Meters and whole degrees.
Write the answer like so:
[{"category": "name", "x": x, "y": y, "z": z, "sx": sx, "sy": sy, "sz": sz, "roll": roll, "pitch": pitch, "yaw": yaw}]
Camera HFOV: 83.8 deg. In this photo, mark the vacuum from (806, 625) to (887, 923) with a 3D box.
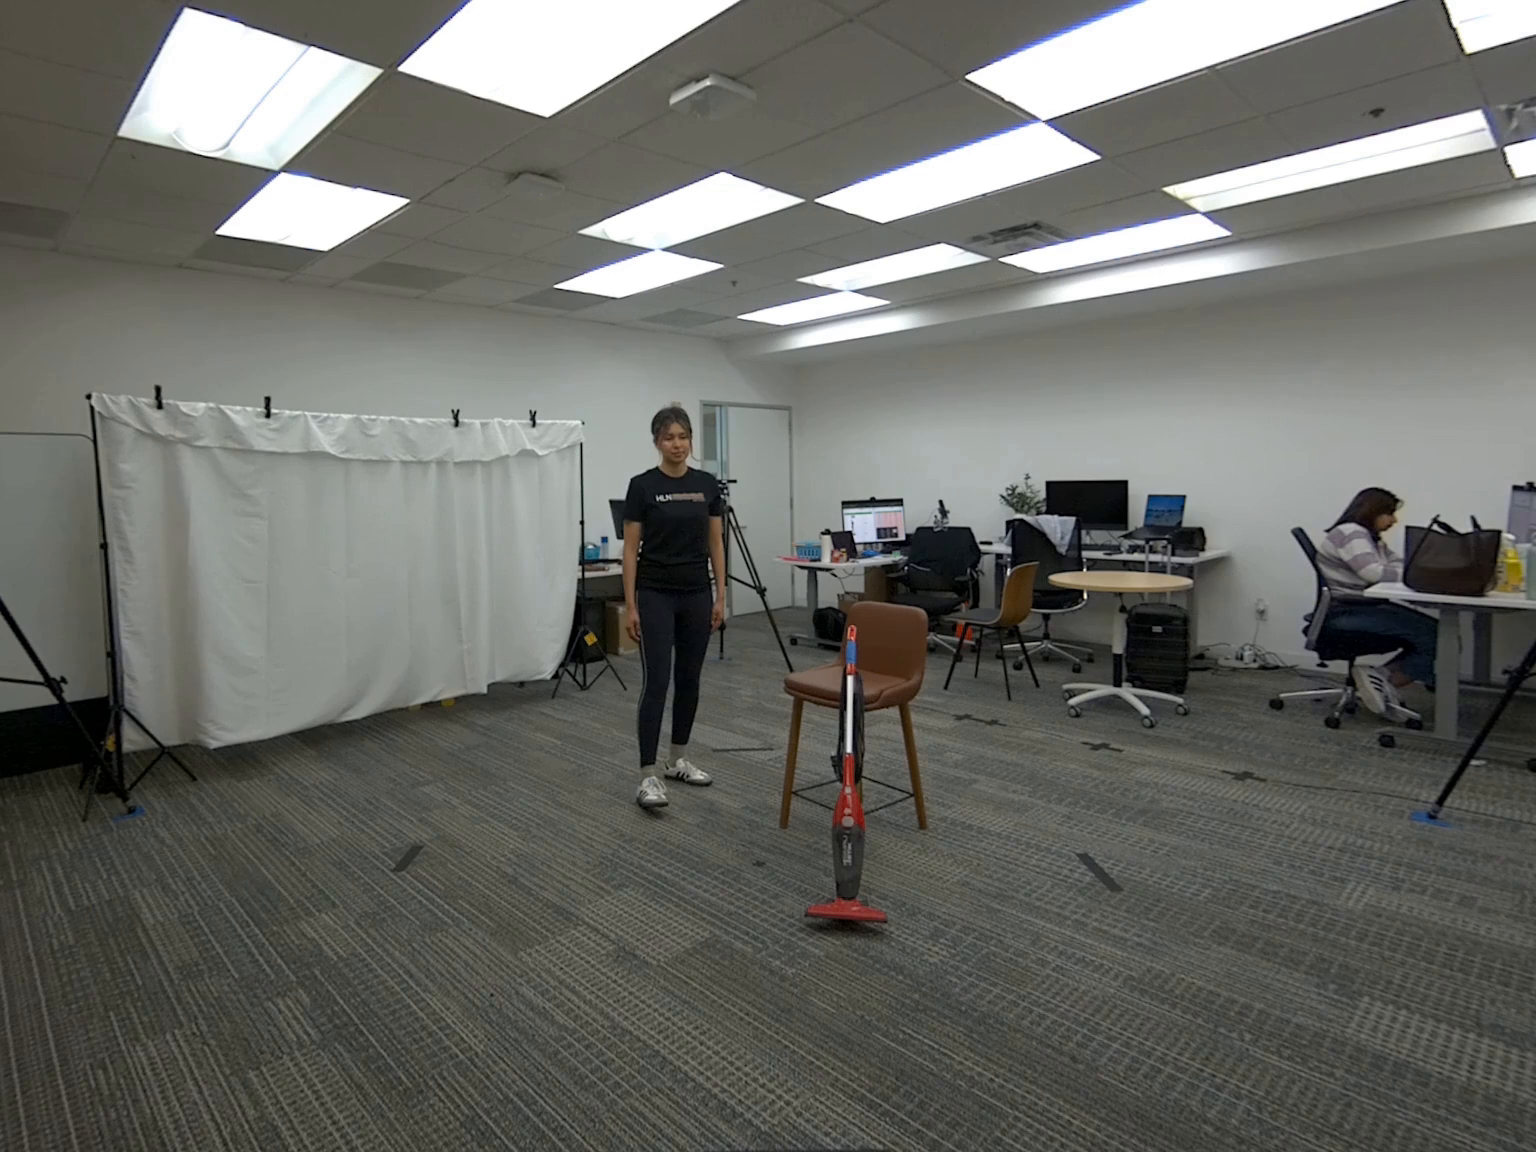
[{"category": "vacuum", "x": 0.288, "y": 0.643, "z": 2.976, "sx": 0.255, "sy": 1.073, "sz": 0.139, "roll": -1, "pitch": -36, "yaw": 9}]
